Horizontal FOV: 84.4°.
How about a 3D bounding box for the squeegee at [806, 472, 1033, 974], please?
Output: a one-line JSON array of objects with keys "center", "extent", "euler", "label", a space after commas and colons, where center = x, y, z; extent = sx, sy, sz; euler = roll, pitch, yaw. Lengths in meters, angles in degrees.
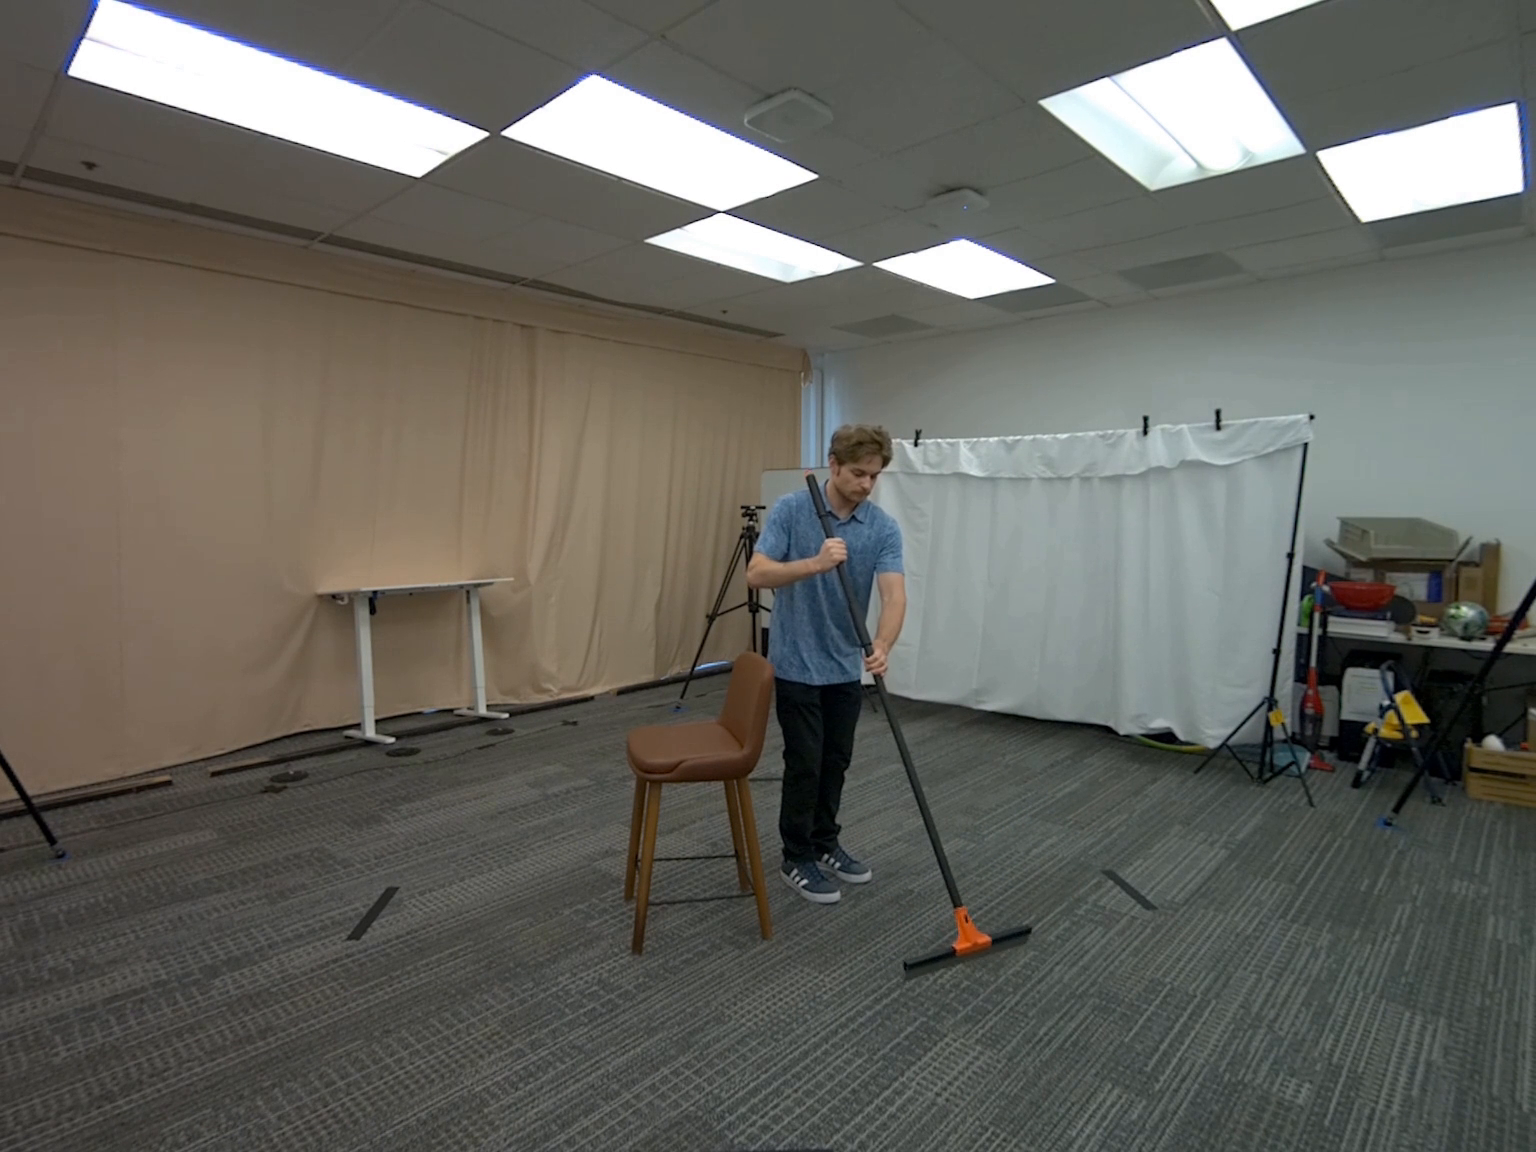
[{"center": [0.356, 0.329, 2.526], "extent": [0.426, 1.569, 0.053], "euler": [-3, -28, -29], "label": "squeegee"}]
